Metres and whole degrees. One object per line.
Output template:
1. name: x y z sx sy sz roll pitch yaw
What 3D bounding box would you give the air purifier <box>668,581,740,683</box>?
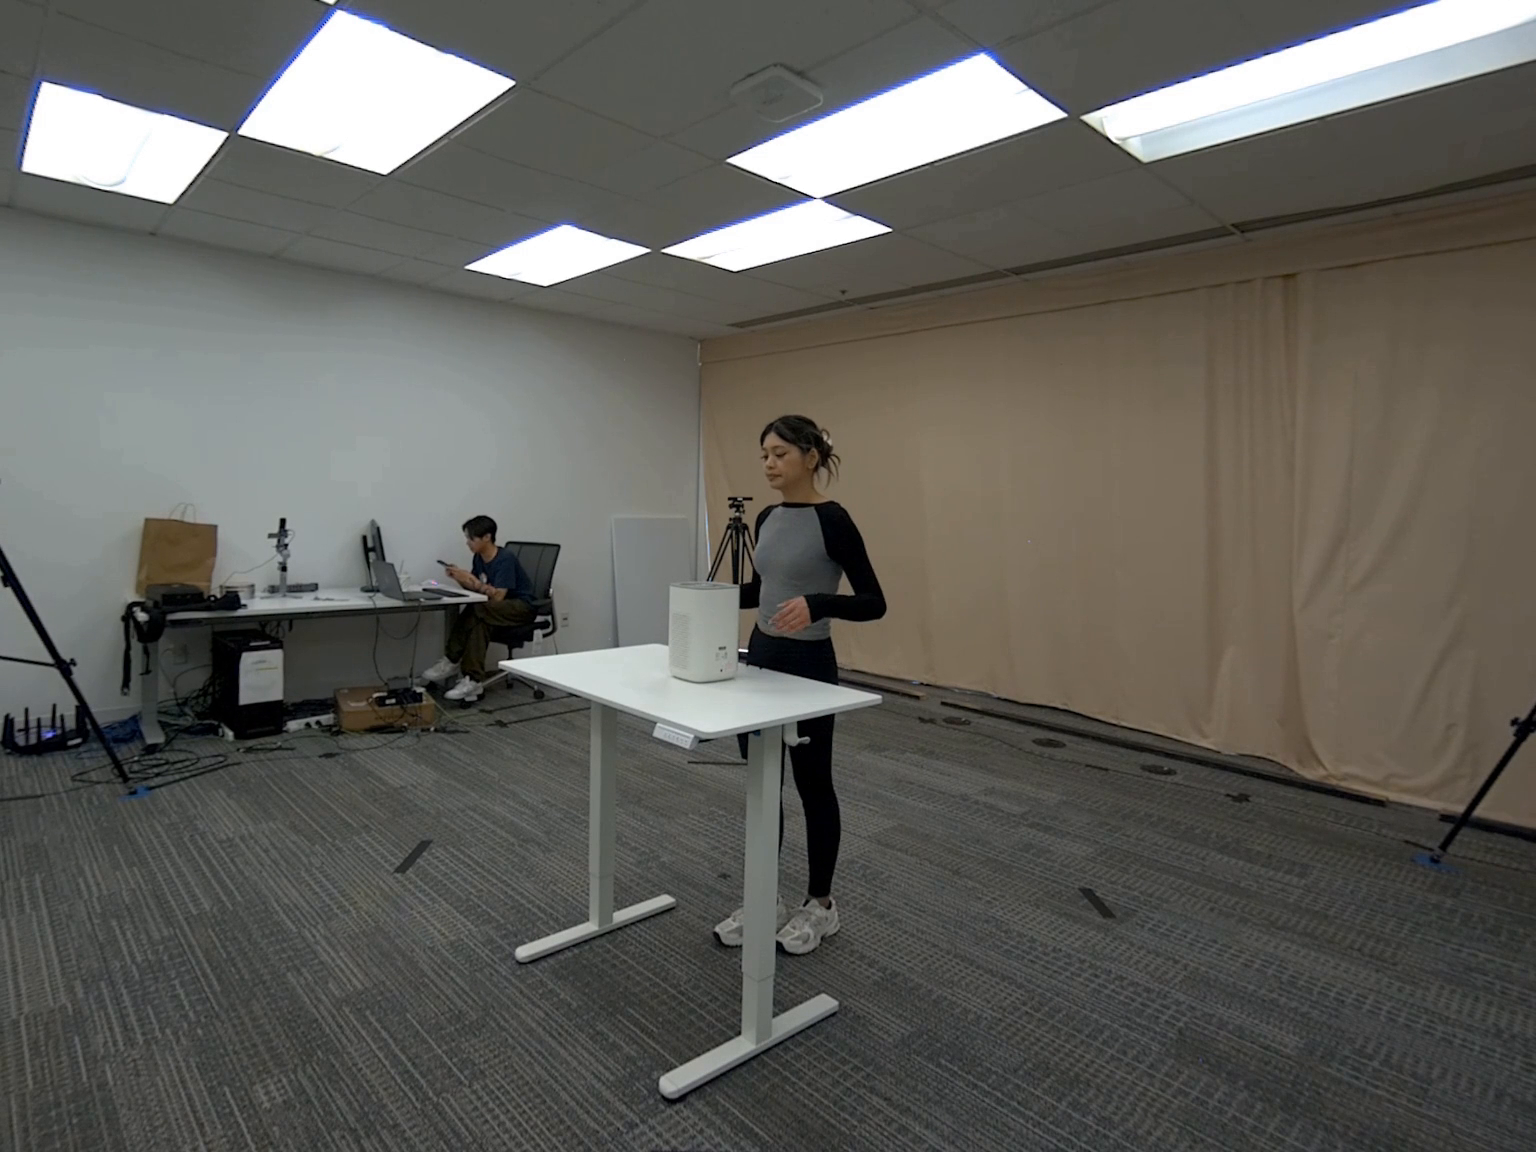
1. air purifier: -0.184 0.157 2.383 0.167 0.265 0.176 -2 3 -42
